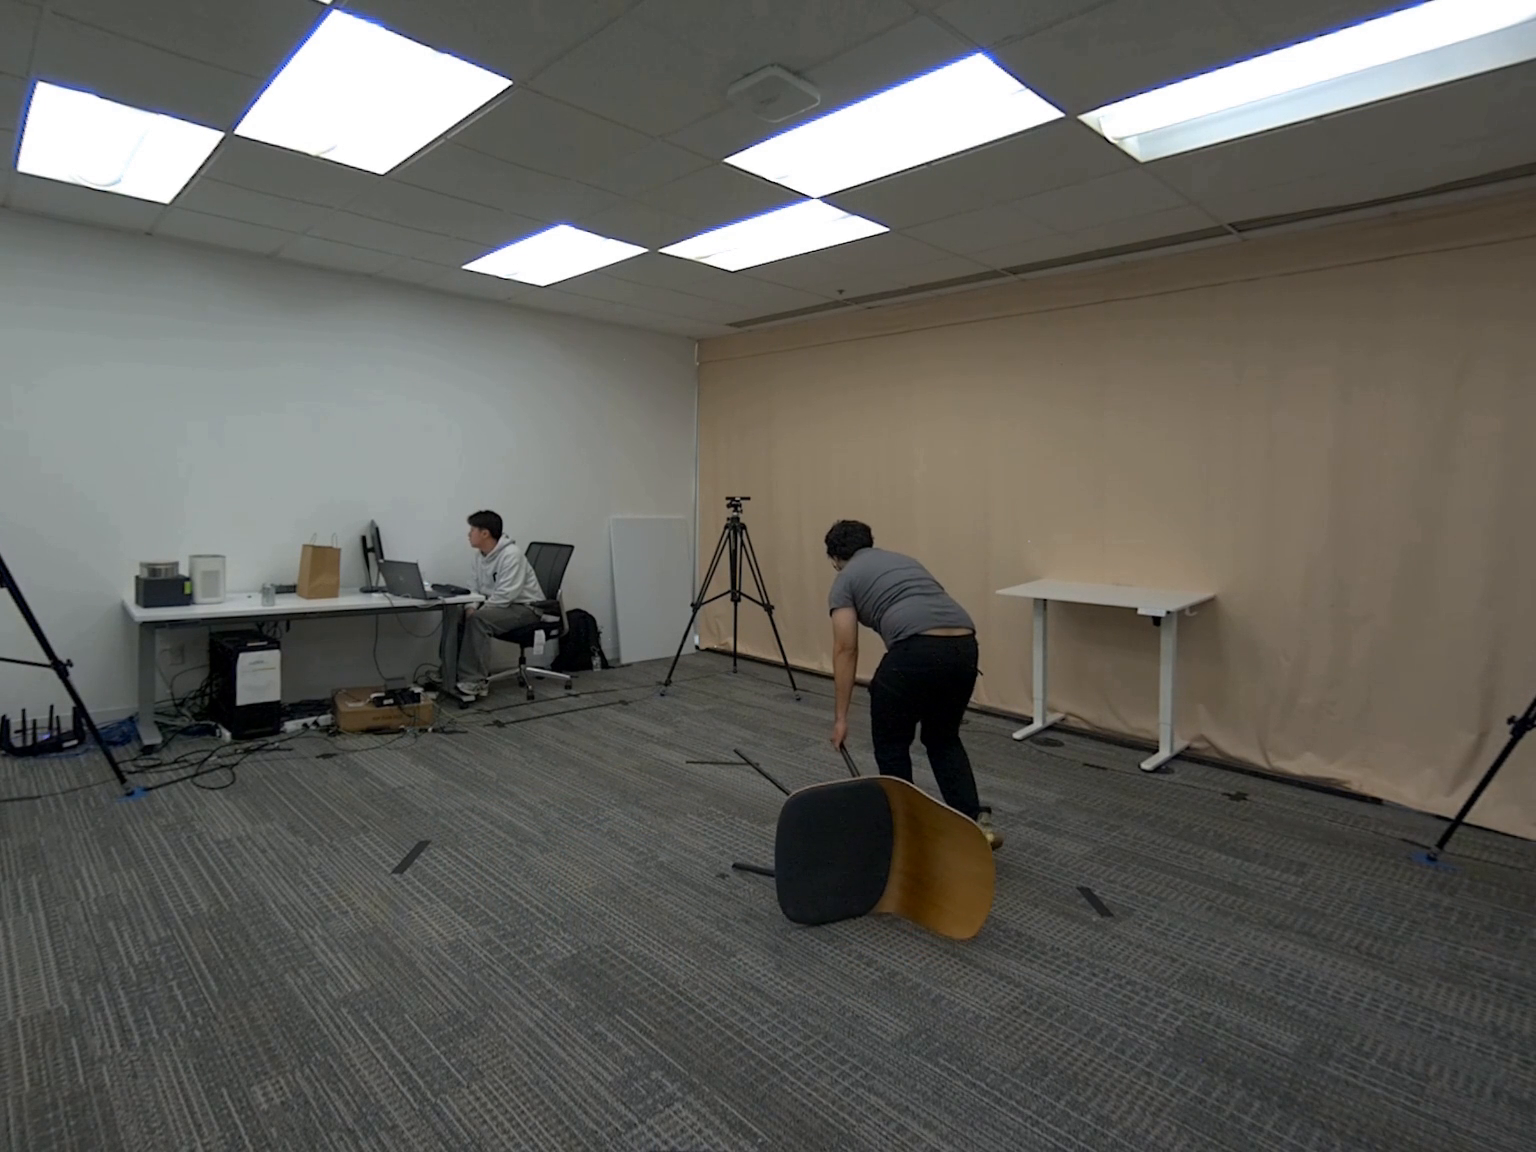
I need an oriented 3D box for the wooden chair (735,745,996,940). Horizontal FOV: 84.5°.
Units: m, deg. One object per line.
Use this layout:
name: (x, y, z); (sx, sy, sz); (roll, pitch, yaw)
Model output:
wooden chair: (0.241, 0.910, 2.838); (0.513, 0.476, 0.897); (-2, 6, -29)
